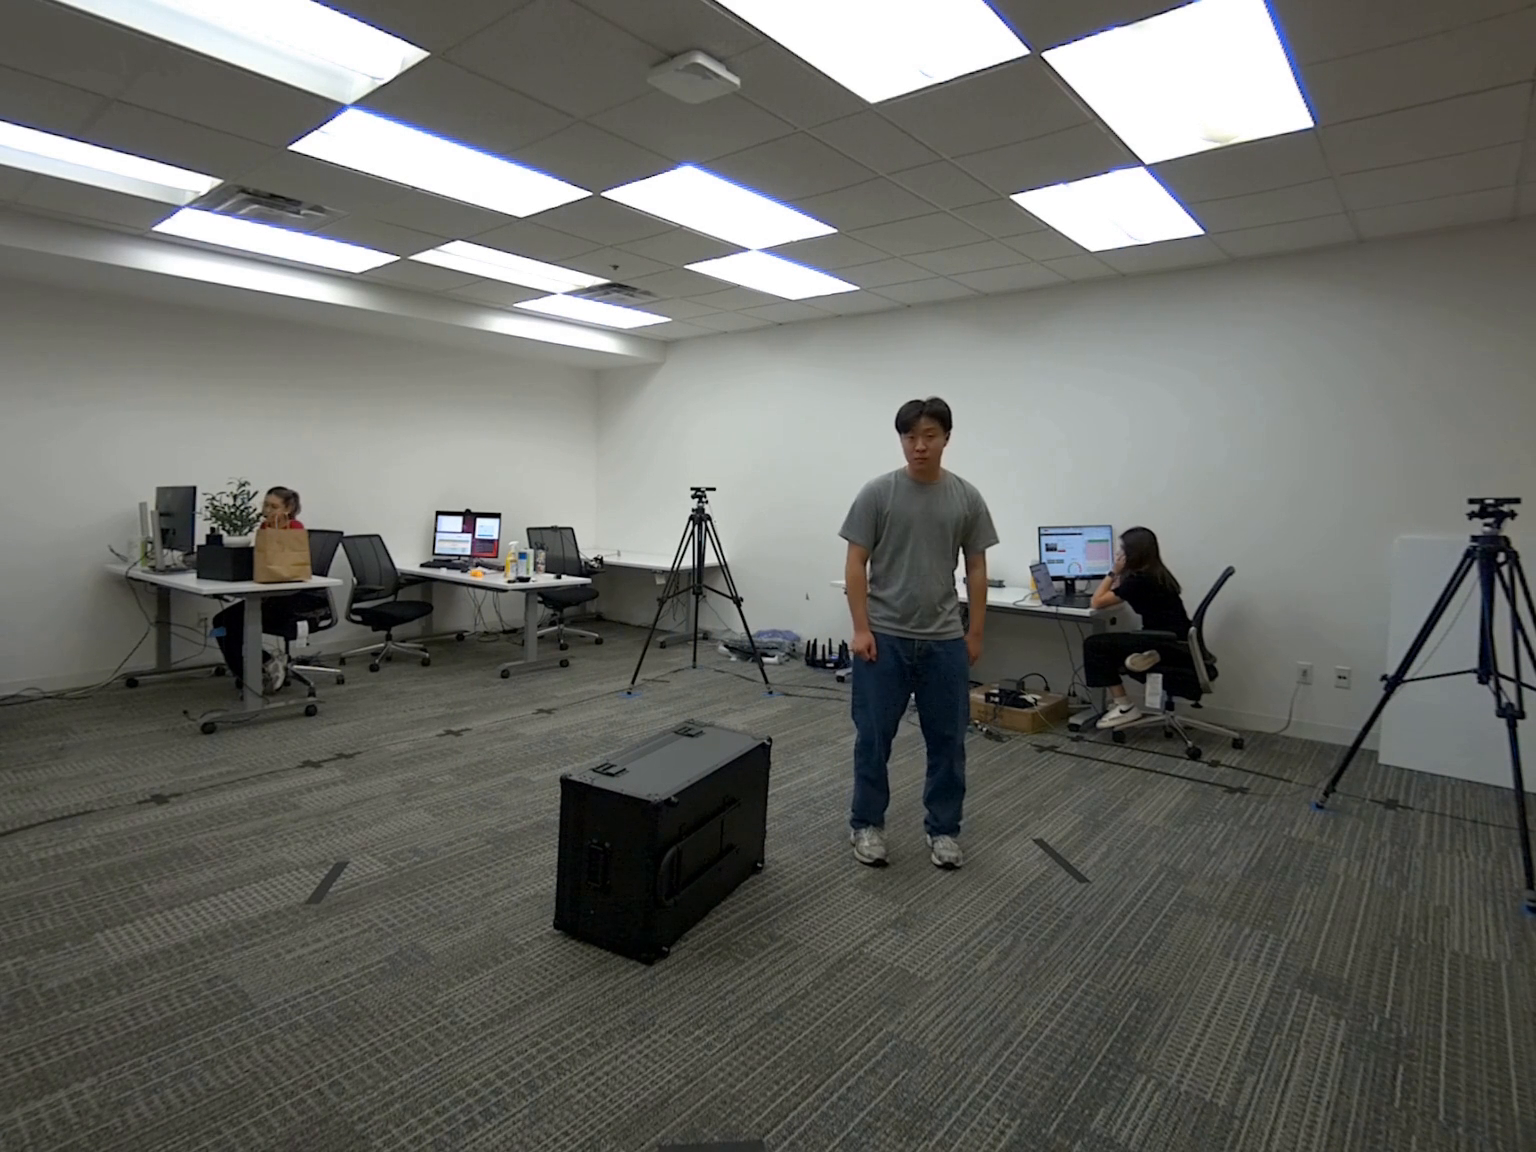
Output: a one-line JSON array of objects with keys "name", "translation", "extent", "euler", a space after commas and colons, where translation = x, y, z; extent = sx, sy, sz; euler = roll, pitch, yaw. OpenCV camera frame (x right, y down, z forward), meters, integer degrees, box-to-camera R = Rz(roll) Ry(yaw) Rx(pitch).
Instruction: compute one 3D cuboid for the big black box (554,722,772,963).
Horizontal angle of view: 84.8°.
[{"name": "big black box", "translation": [-0.307, 0.829, 2.886], "extent": [0.407, 0.519, 0.842], "euler": [6, 6, 25]}]
